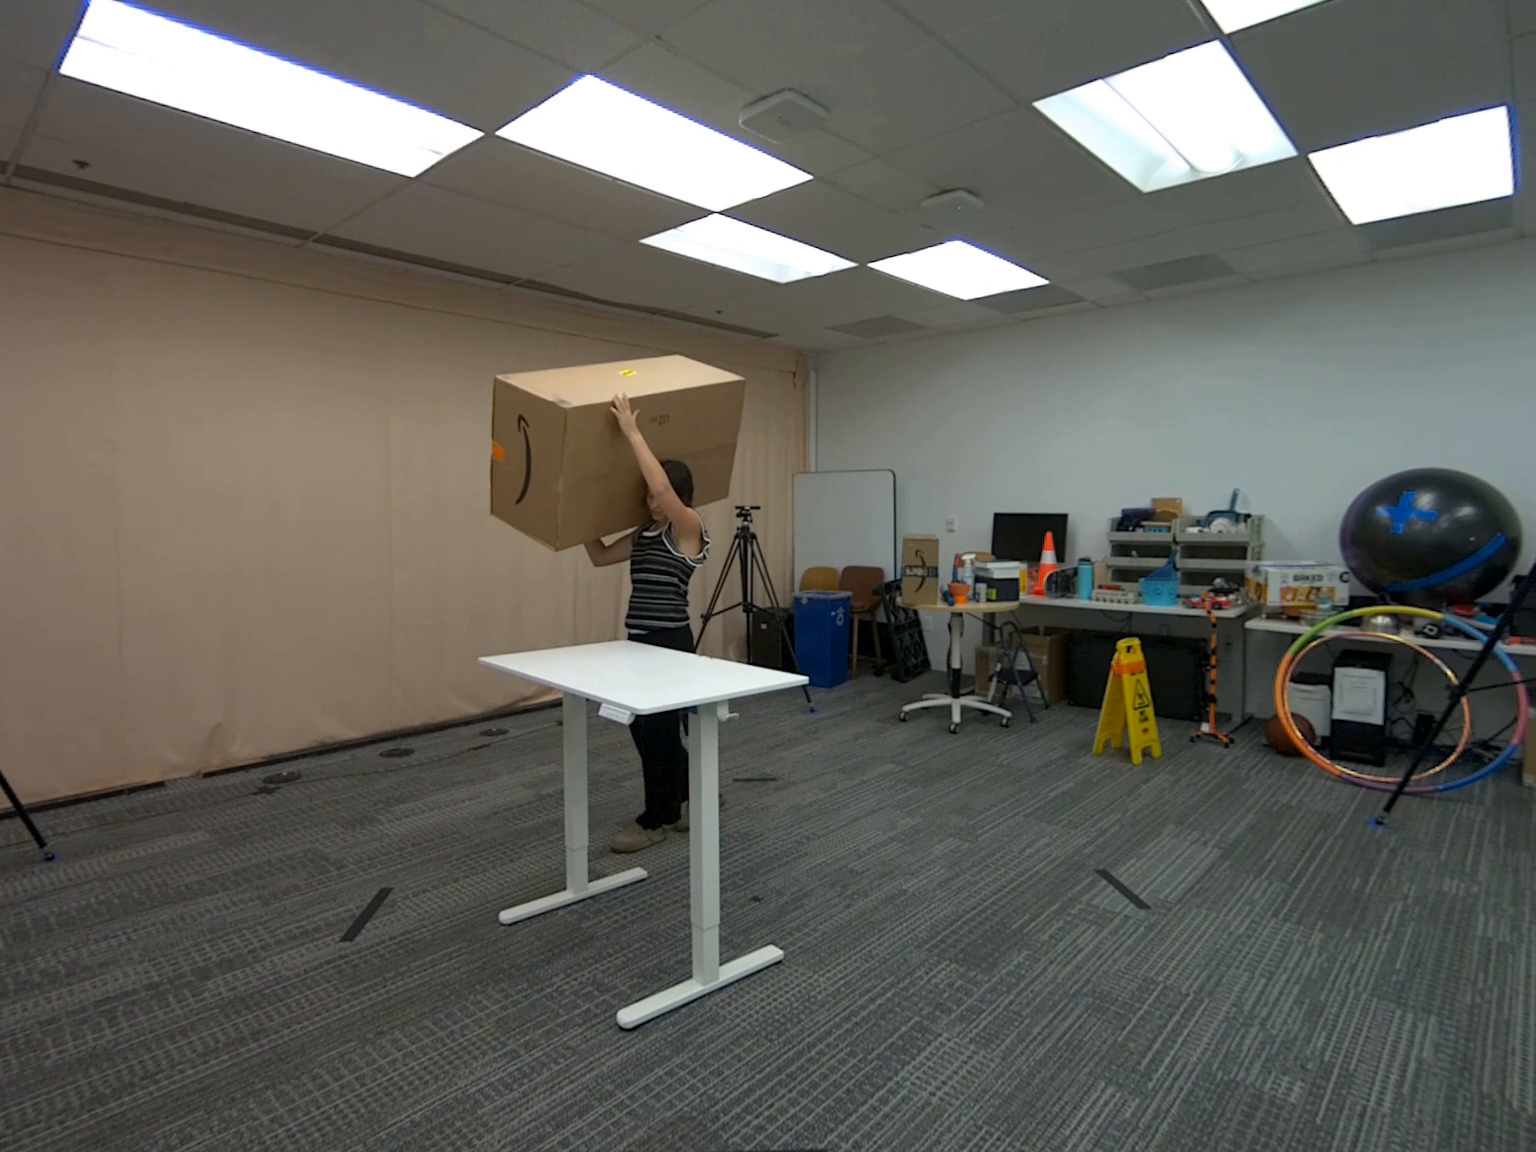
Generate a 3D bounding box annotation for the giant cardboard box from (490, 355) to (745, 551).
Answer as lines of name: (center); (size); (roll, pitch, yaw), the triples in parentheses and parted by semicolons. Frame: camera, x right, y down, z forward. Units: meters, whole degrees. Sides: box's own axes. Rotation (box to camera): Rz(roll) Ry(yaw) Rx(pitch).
giant cardboard box: (-0.610, -0.550, 3.561); (0.441, 0.571, 1.002); (27, 31, 31)
